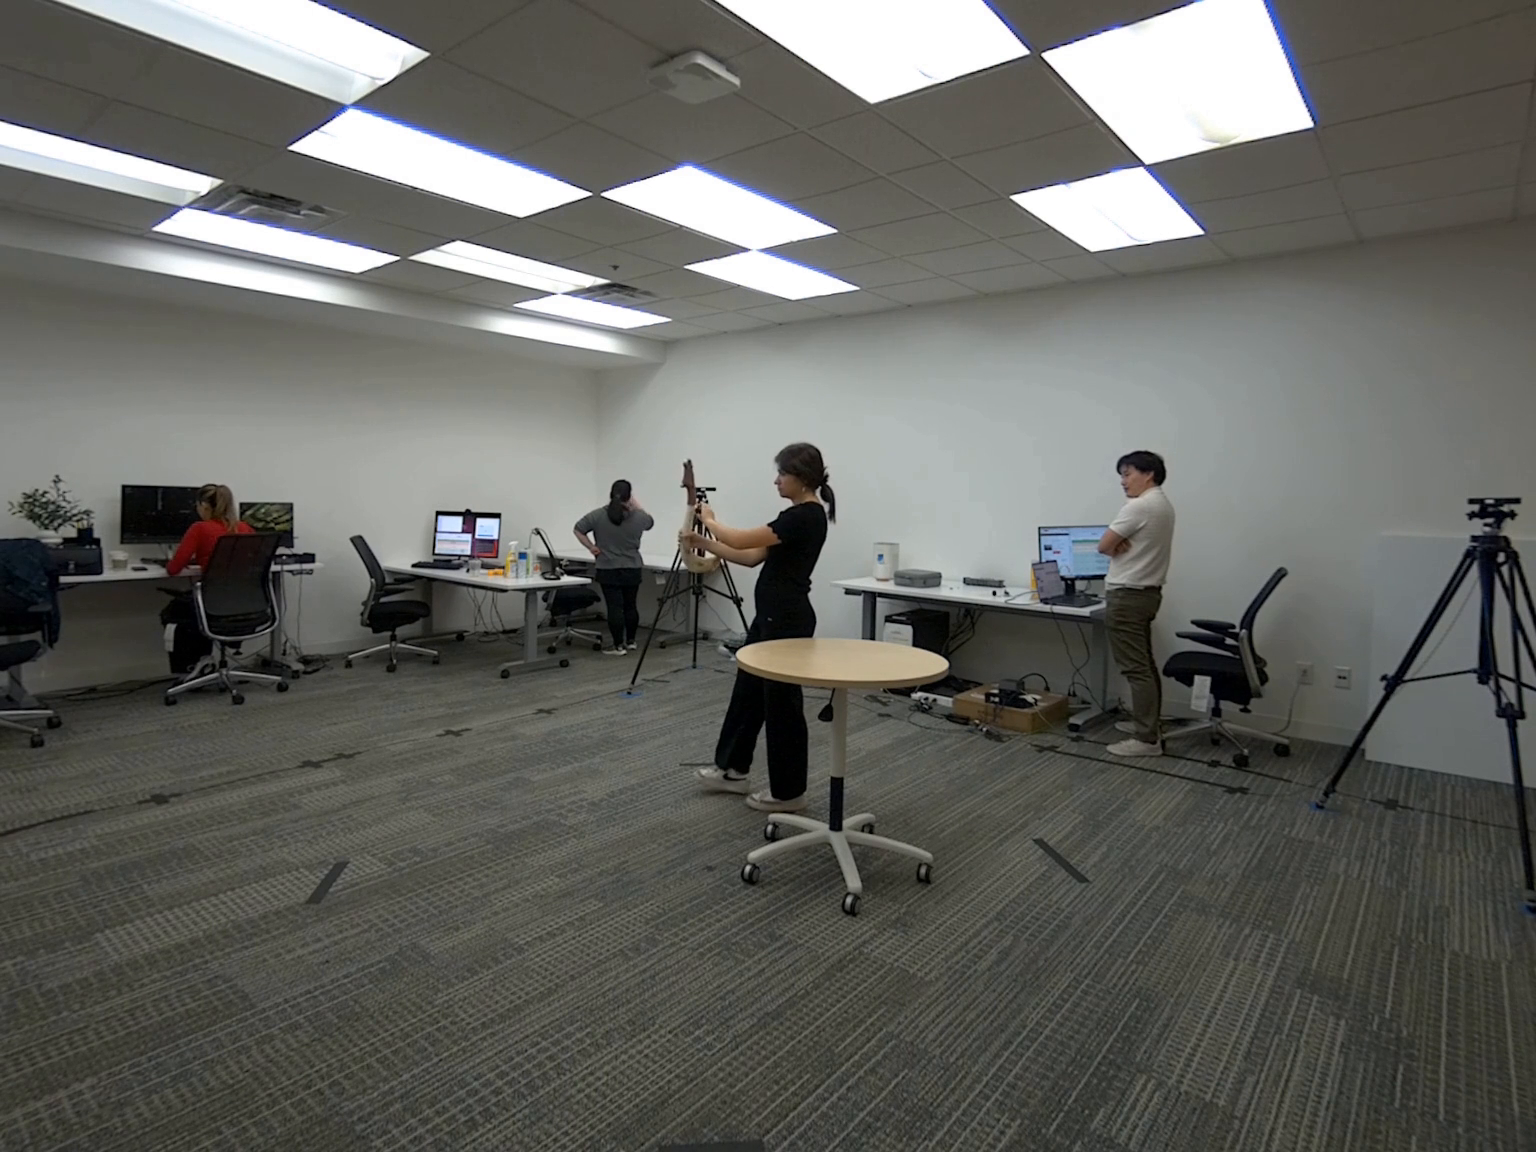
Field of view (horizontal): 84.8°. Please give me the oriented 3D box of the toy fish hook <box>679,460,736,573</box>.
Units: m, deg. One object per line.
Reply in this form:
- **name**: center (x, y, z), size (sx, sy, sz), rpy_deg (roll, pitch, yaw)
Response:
- **toy fish hook**: center (-0.297, -0.261, 3.756), size (0.221, 0.505, 0.049), rpy_deg (0, 3, -16)
